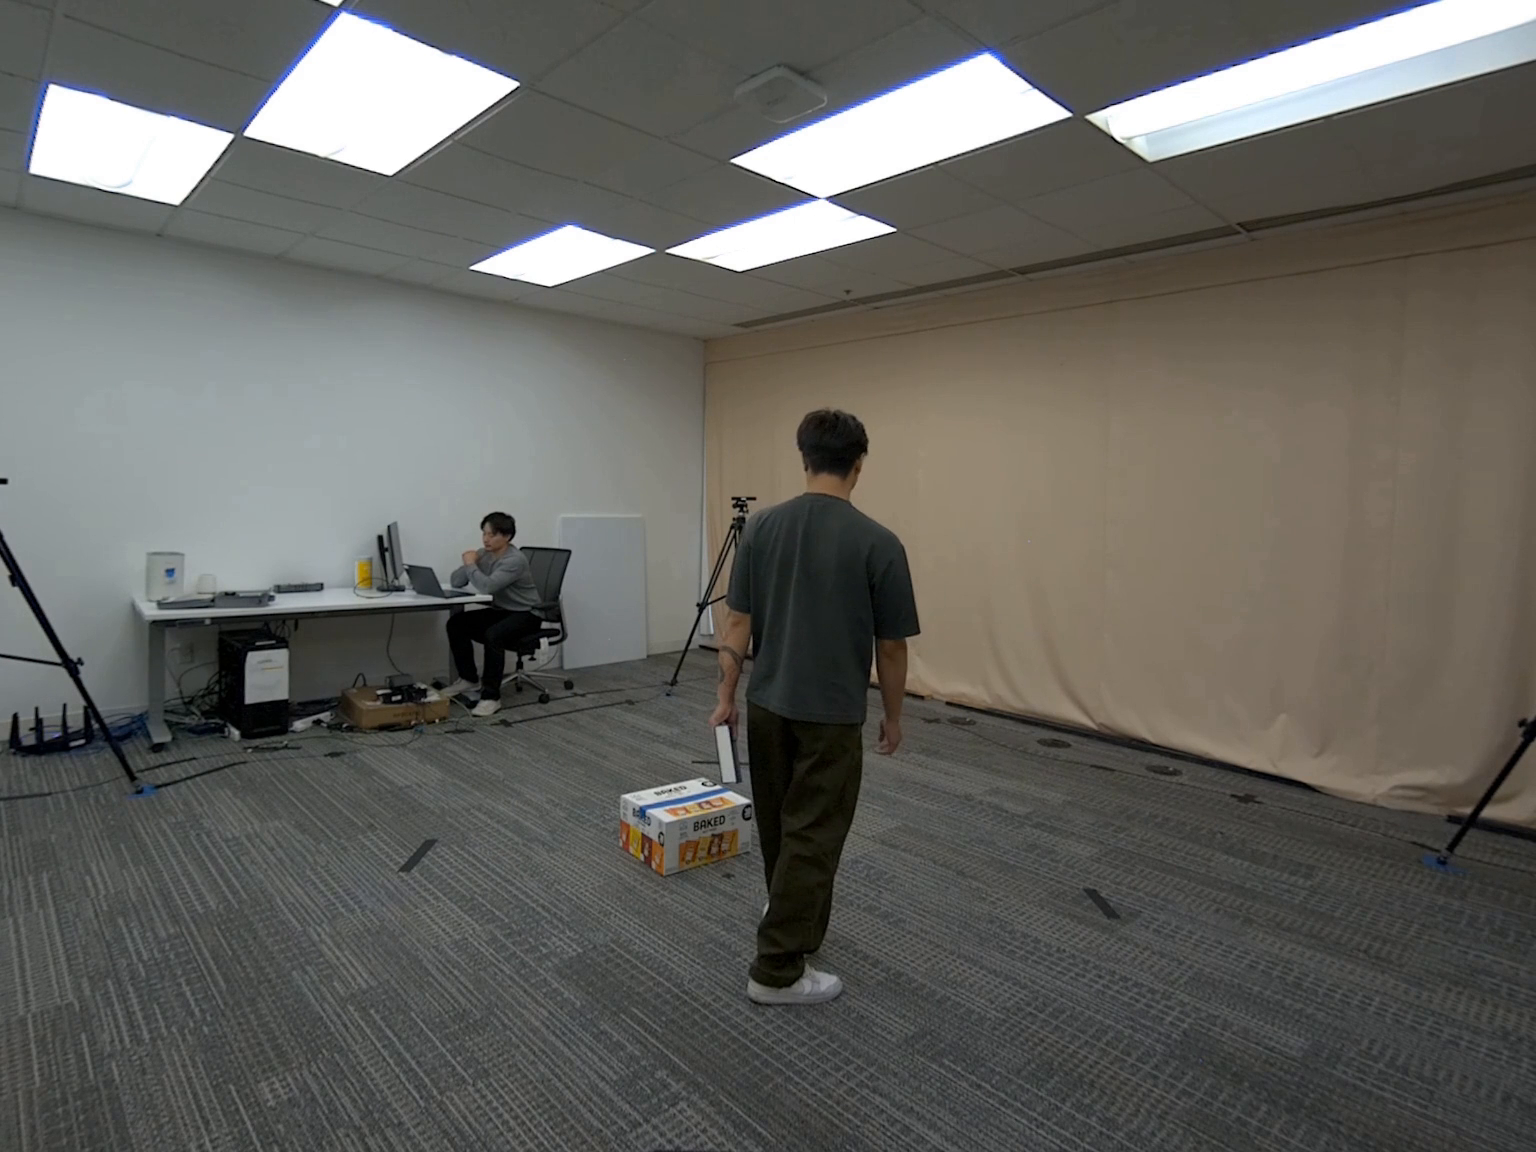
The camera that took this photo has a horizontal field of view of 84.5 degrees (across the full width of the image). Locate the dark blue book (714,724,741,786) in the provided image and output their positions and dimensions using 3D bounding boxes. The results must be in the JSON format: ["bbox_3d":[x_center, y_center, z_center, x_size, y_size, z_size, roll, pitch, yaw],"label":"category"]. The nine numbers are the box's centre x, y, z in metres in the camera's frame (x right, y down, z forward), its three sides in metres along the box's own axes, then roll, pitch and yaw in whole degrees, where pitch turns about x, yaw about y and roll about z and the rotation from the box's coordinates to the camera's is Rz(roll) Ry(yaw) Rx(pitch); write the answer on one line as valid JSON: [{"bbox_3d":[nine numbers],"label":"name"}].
[{"bbox_3d":[-0.115,0.519,2.444,0.045,0.165,0.243,-8,-12,-4],"label":"dark blue book"}]
